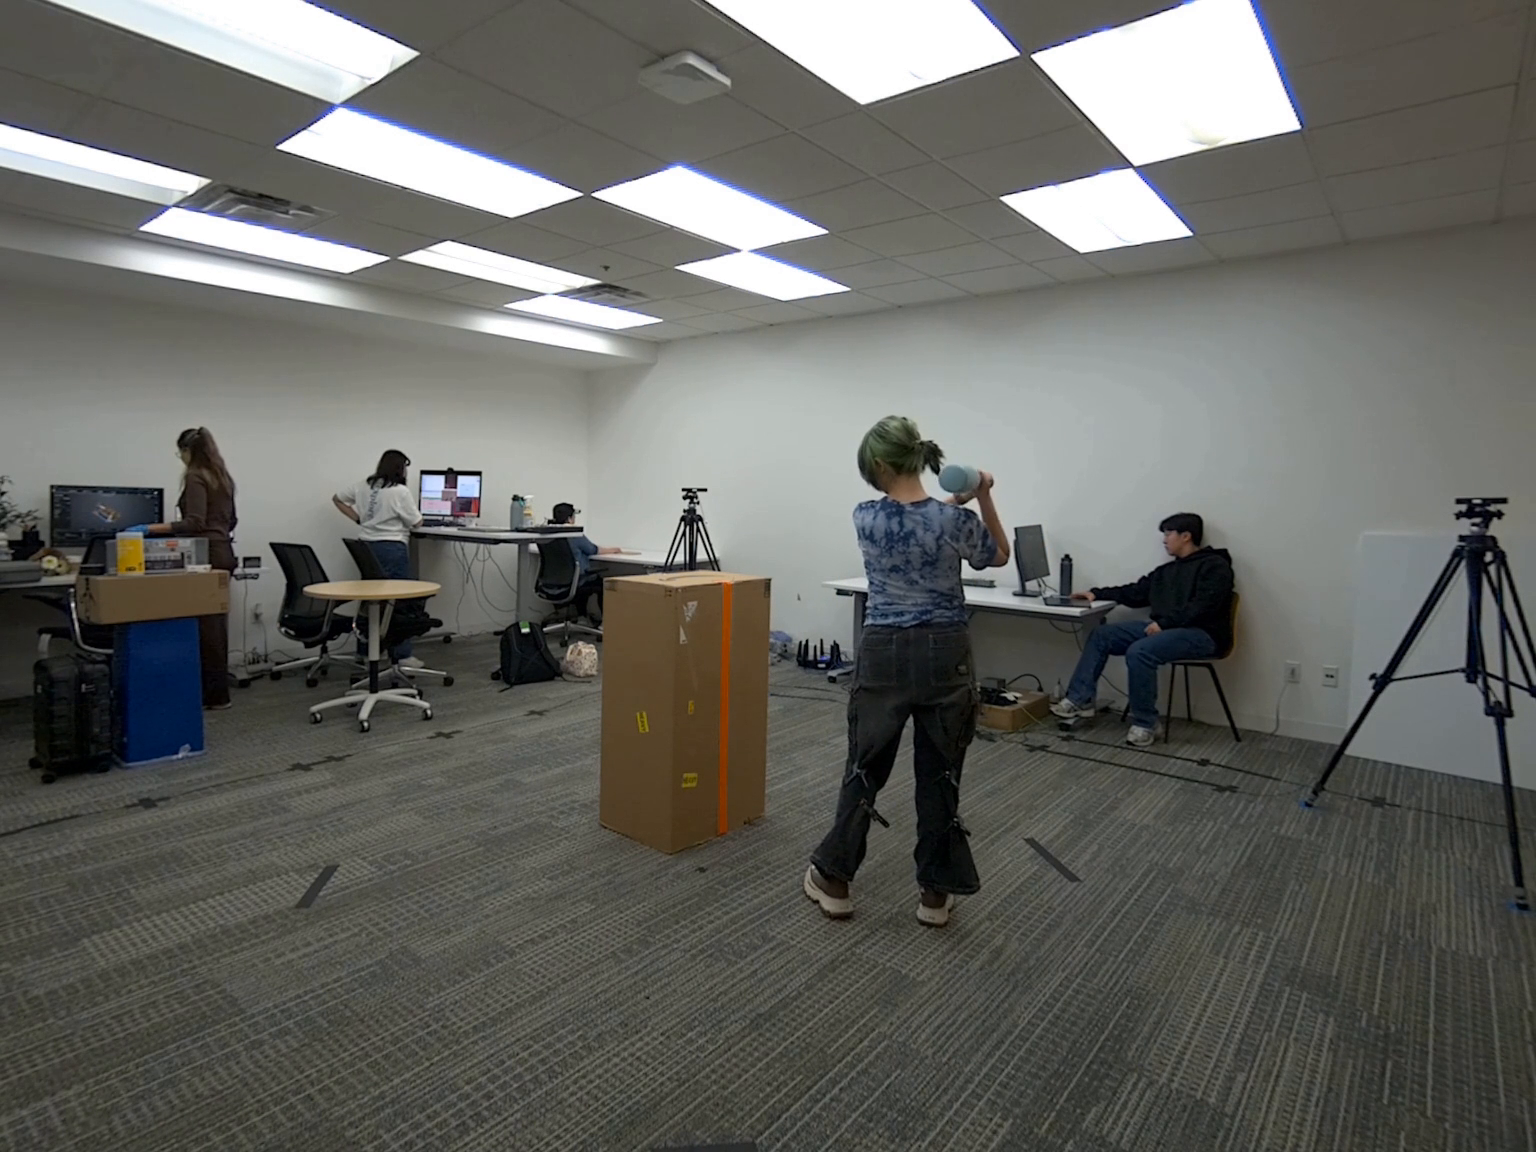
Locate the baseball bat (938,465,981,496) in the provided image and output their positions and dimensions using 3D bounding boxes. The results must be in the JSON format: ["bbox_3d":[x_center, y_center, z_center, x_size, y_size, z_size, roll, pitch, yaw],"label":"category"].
[{"bbox_3d":[0.634,-0.304,2.686,0.091,0.089,0.530,3,6,25],"label":"baseball bat"}]
